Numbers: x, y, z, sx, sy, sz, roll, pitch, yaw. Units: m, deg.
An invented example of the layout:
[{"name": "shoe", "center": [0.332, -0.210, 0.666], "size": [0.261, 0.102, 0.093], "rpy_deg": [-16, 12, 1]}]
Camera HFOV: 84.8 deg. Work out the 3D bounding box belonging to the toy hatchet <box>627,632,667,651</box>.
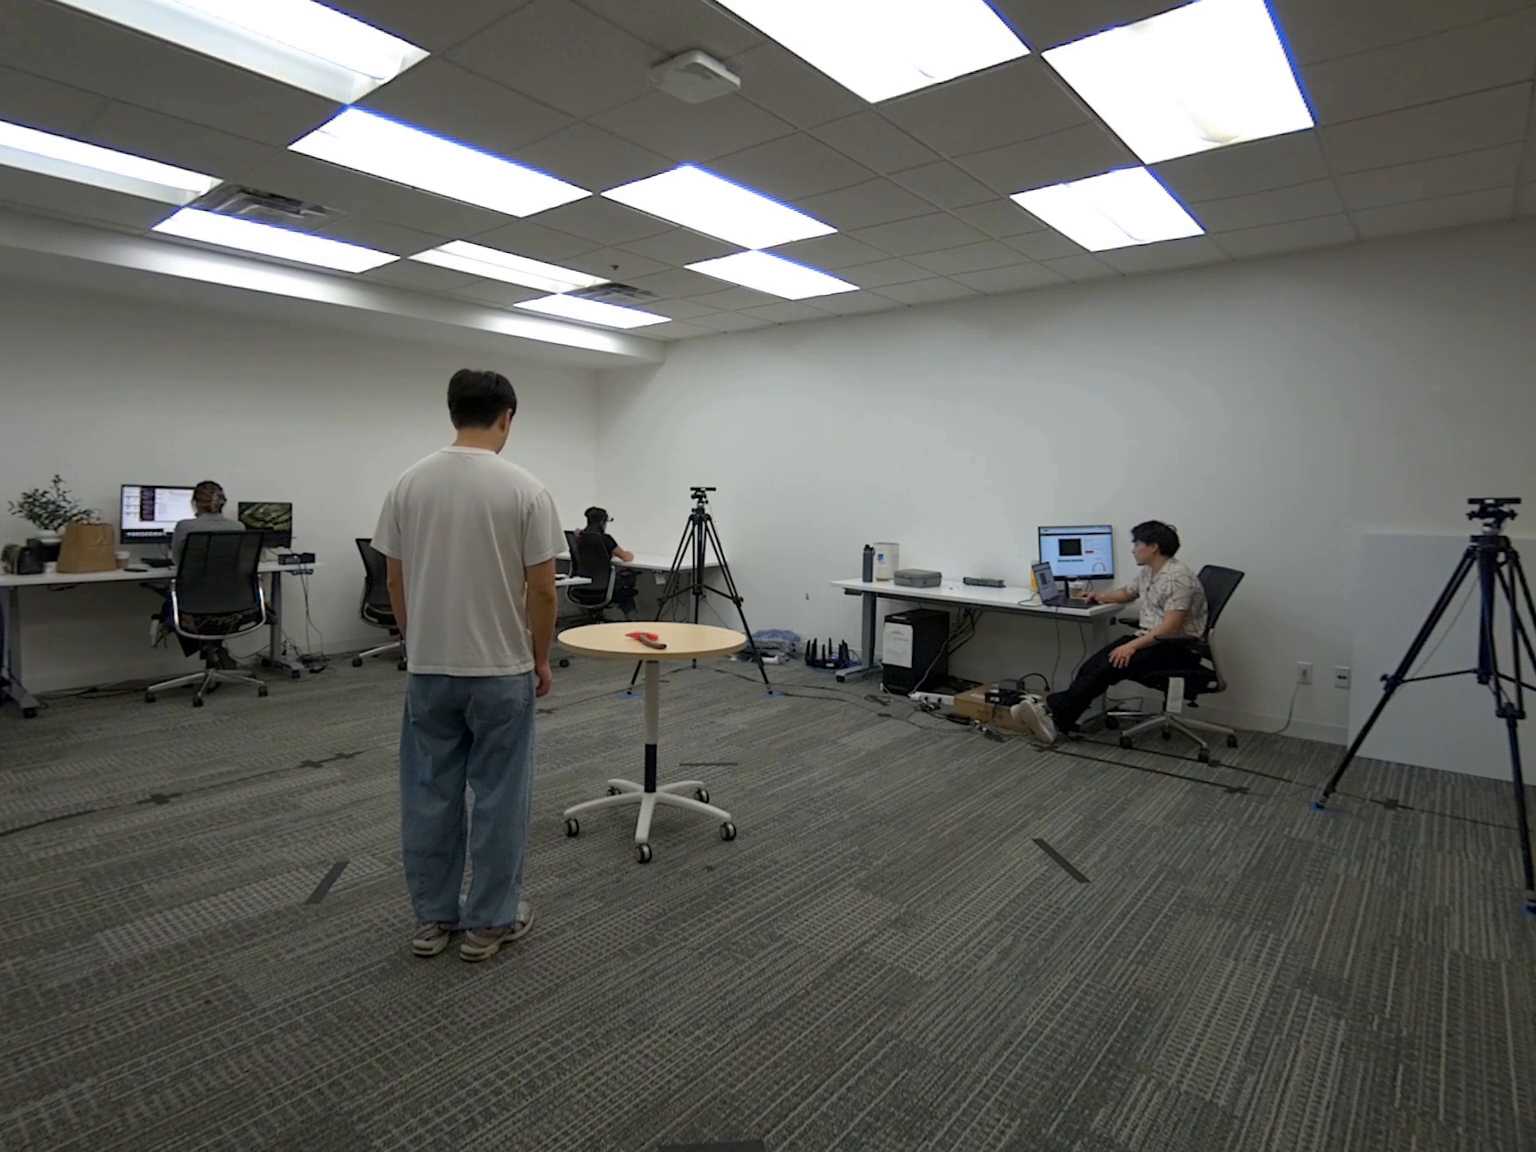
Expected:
[{"name": "toy hatchet", "center": [-0.453, 0.249, 3.302], "size": [0.127, 0.029, 0.279], "rpy_deg": [2, 5, -35]}]
